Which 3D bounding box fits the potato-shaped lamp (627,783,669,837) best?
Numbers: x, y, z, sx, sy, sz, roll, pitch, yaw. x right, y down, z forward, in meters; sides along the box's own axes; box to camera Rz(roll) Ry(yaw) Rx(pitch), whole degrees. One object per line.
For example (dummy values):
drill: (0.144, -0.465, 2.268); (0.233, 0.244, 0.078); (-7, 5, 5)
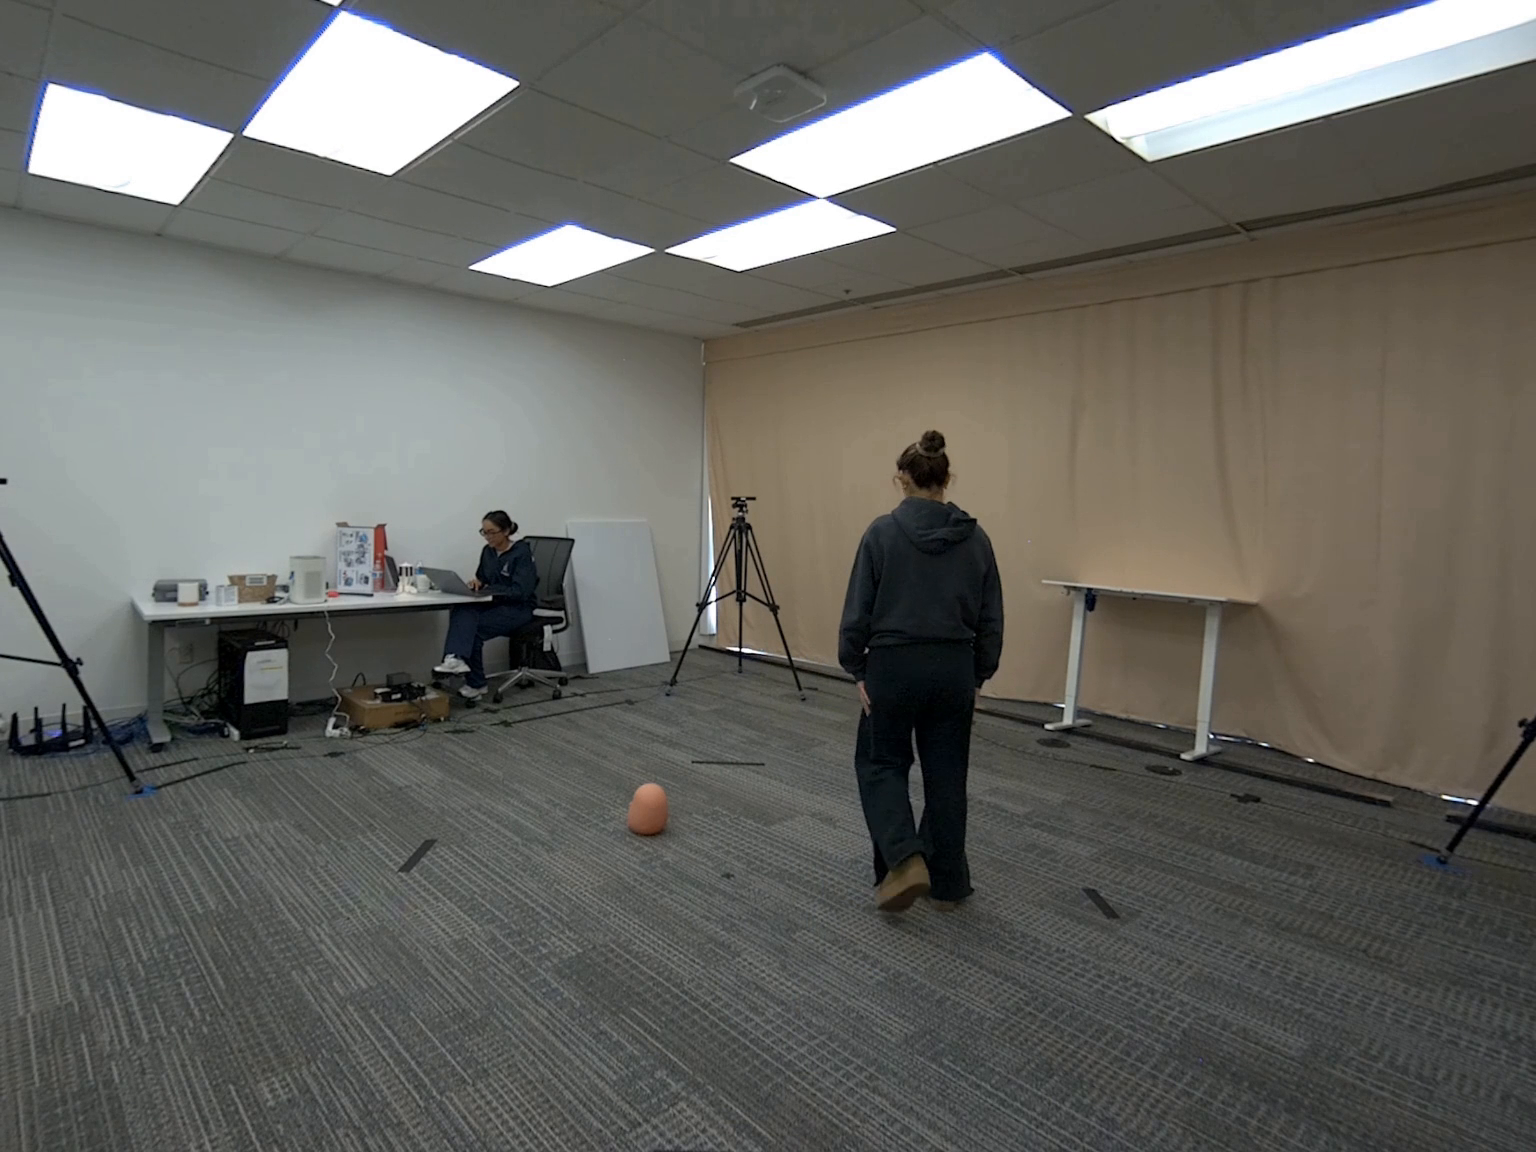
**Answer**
potato-shaped lamp: (-0.510, 0.964, 3.509); (0.161, 0.197, 0.176); (-2, 9, -39)
